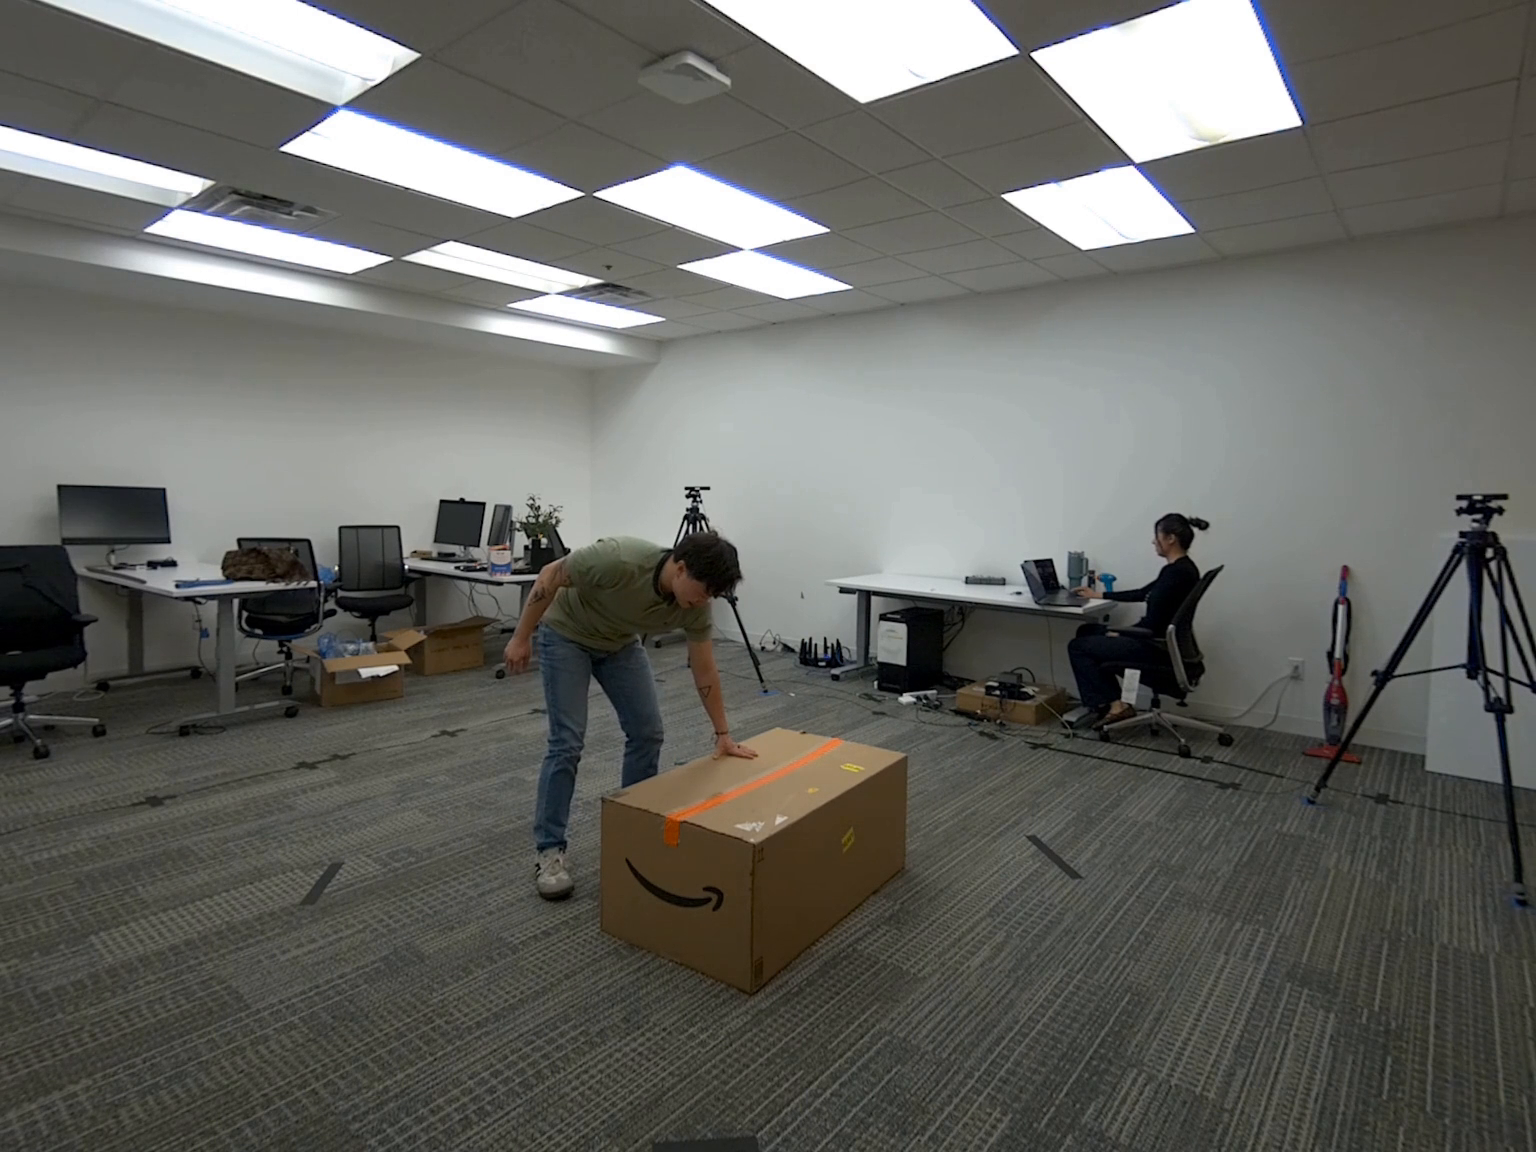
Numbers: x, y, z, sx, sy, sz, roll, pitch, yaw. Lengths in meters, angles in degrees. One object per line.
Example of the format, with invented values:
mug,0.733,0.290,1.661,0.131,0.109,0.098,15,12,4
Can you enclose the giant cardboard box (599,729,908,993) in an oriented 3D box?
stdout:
giant cardboard box,-0.011,0.878,2.892,0.596,0.424,0.998,4,6,34
